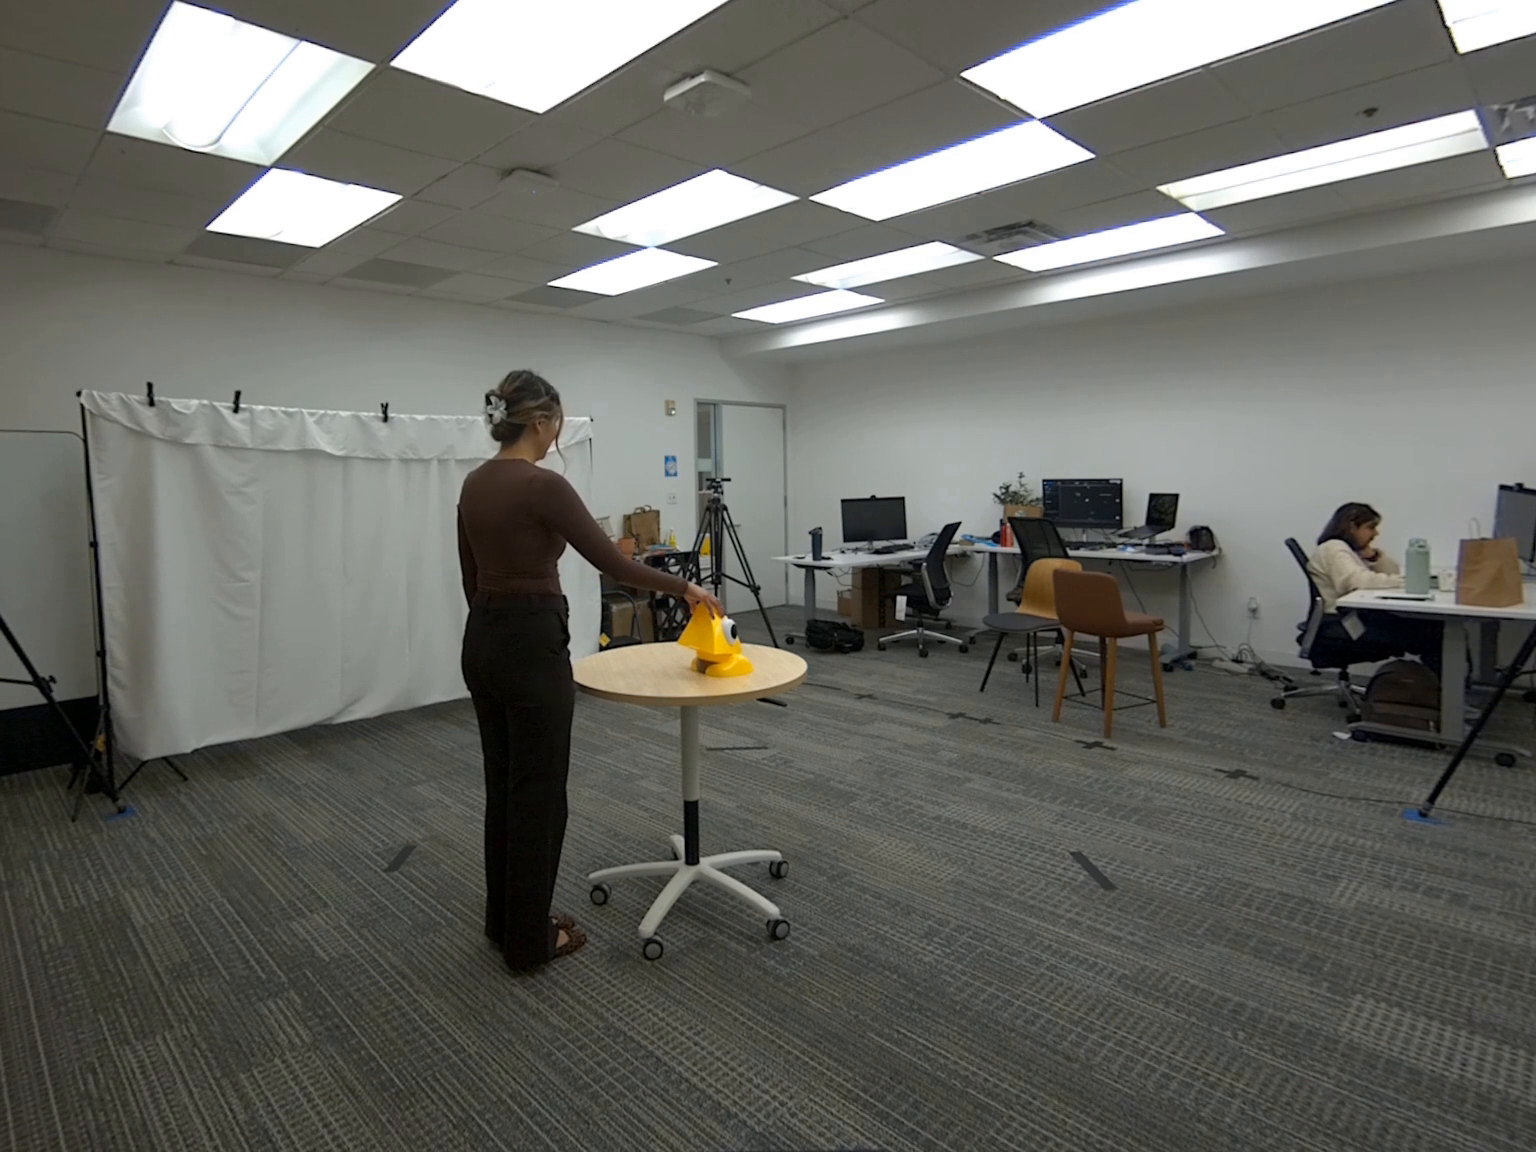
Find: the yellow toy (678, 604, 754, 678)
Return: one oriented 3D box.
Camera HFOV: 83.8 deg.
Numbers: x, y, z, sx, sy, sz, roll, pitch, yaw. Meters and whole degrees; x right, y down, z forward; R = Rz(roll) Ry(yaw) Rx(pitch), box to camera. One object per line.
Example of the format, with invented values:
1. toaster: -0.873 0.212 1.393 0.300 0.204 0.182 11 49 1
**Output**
1. yellow toy: -0.154 0.182 2.688 0.188 0.229 0.211 -4 7 -37
